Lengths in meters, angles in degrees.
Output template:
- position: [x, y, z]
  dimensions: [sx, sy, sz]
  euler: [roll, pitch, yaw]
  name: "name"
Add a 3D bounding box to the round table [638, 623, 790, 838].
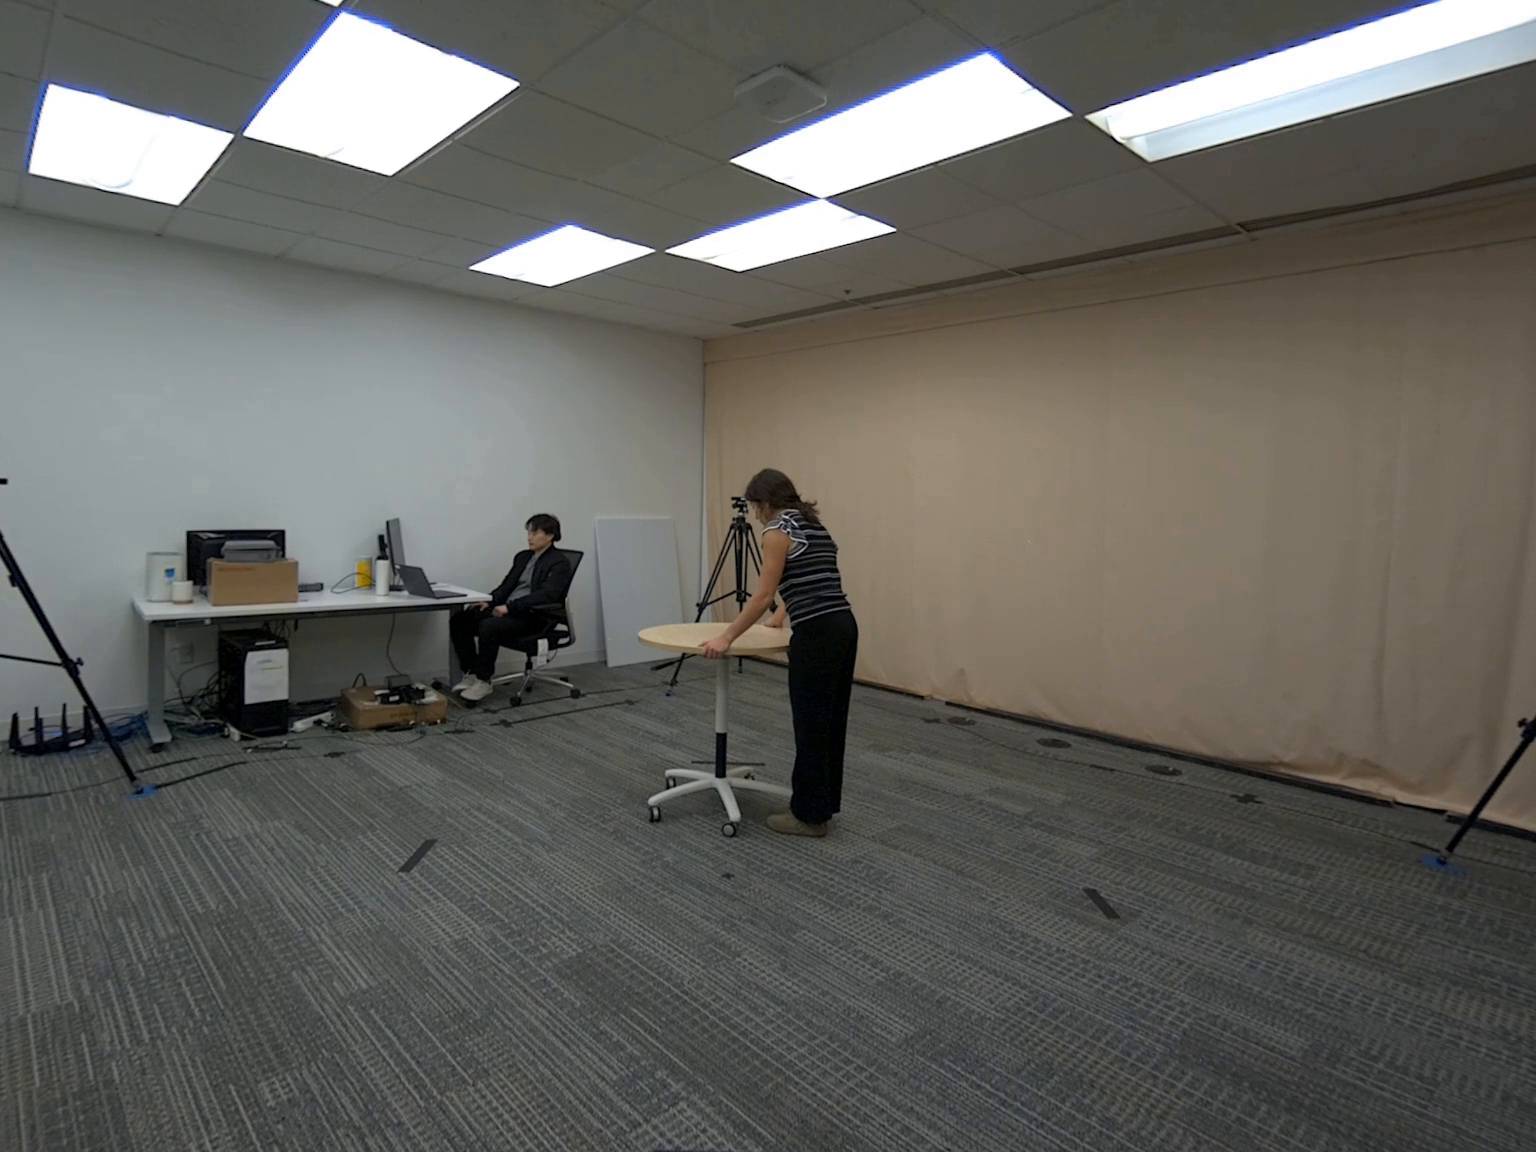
- position: [-0.226, 0.654, 3.782]
  dimensions: [0.763, 0.792, 0.766]
  euler: [2, 3, -1]
  name: "round table"
